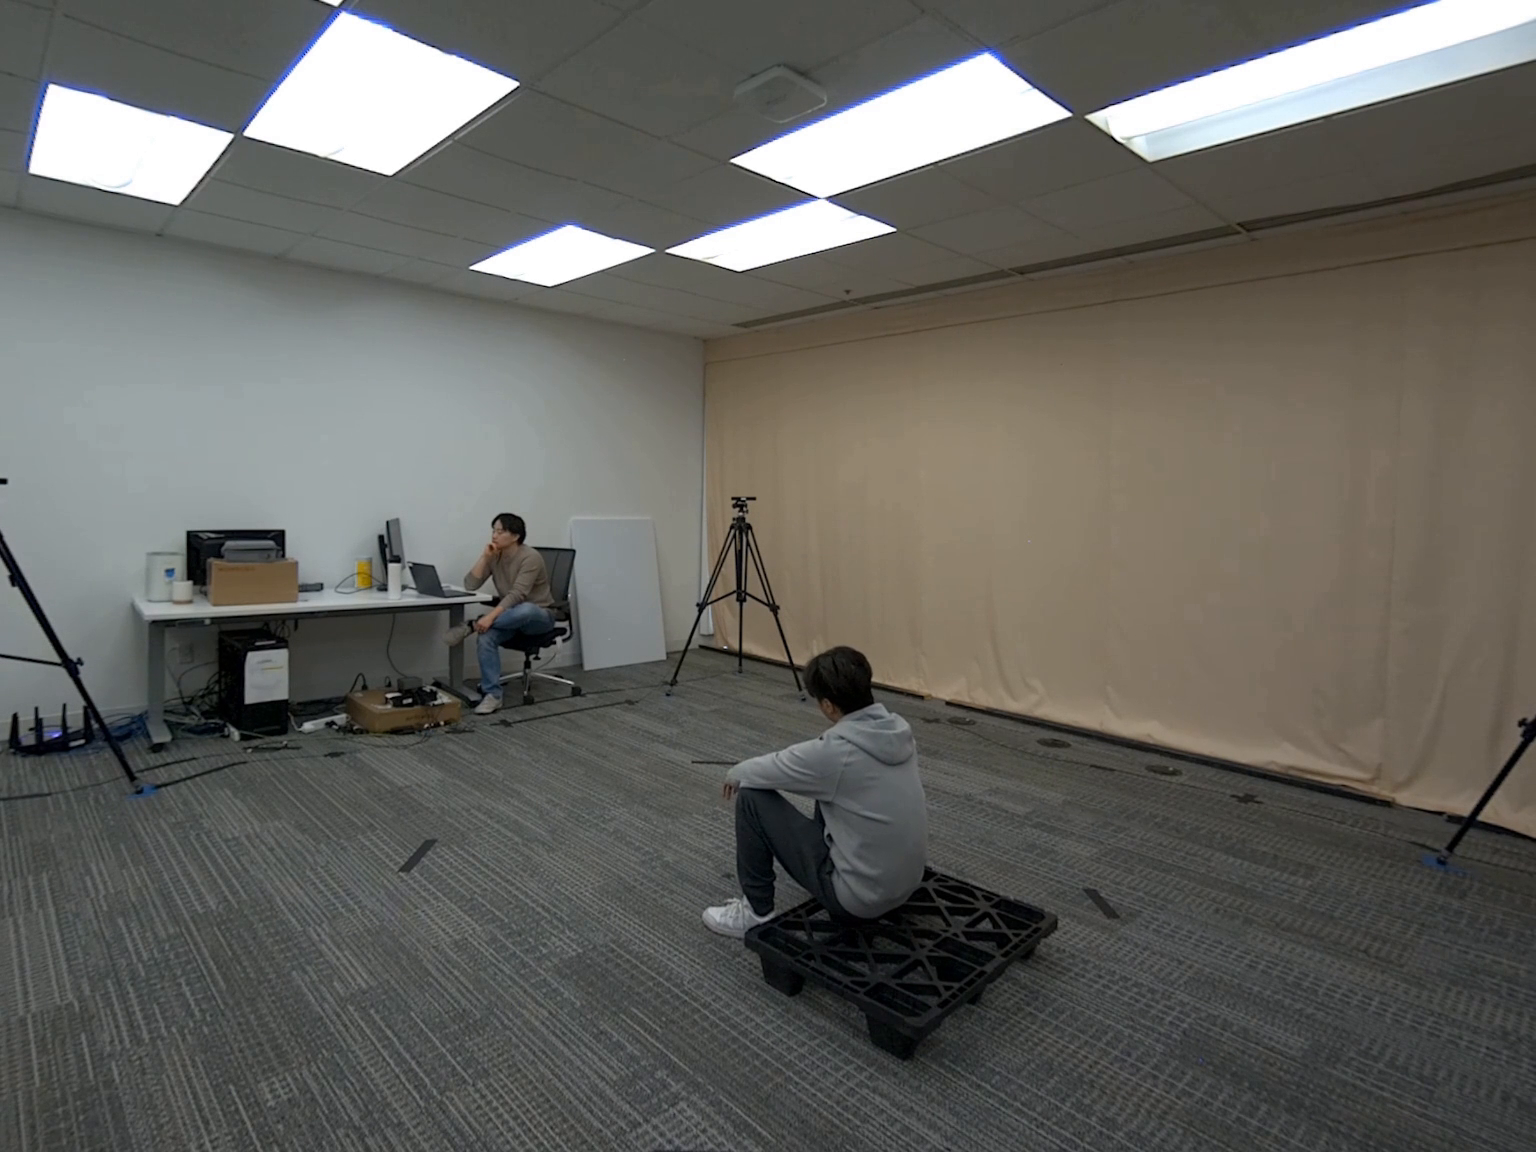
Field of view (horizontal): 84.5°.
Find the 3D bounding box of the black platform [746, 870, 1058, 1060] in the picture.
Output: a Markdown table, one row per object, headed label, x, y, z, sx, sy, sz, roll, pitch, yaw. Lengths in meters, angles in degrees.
| label | x | y | z | sx | sy | sz | roll | pitch | yaw |
| --- | --- | --- | --- | --- | --- | --- | --- | --- | --- |
| black platform | 0.392 | 1.104 | 2.525 | 0.621 | 0.143 | 0.787 | 6 | 7 | 43 |
